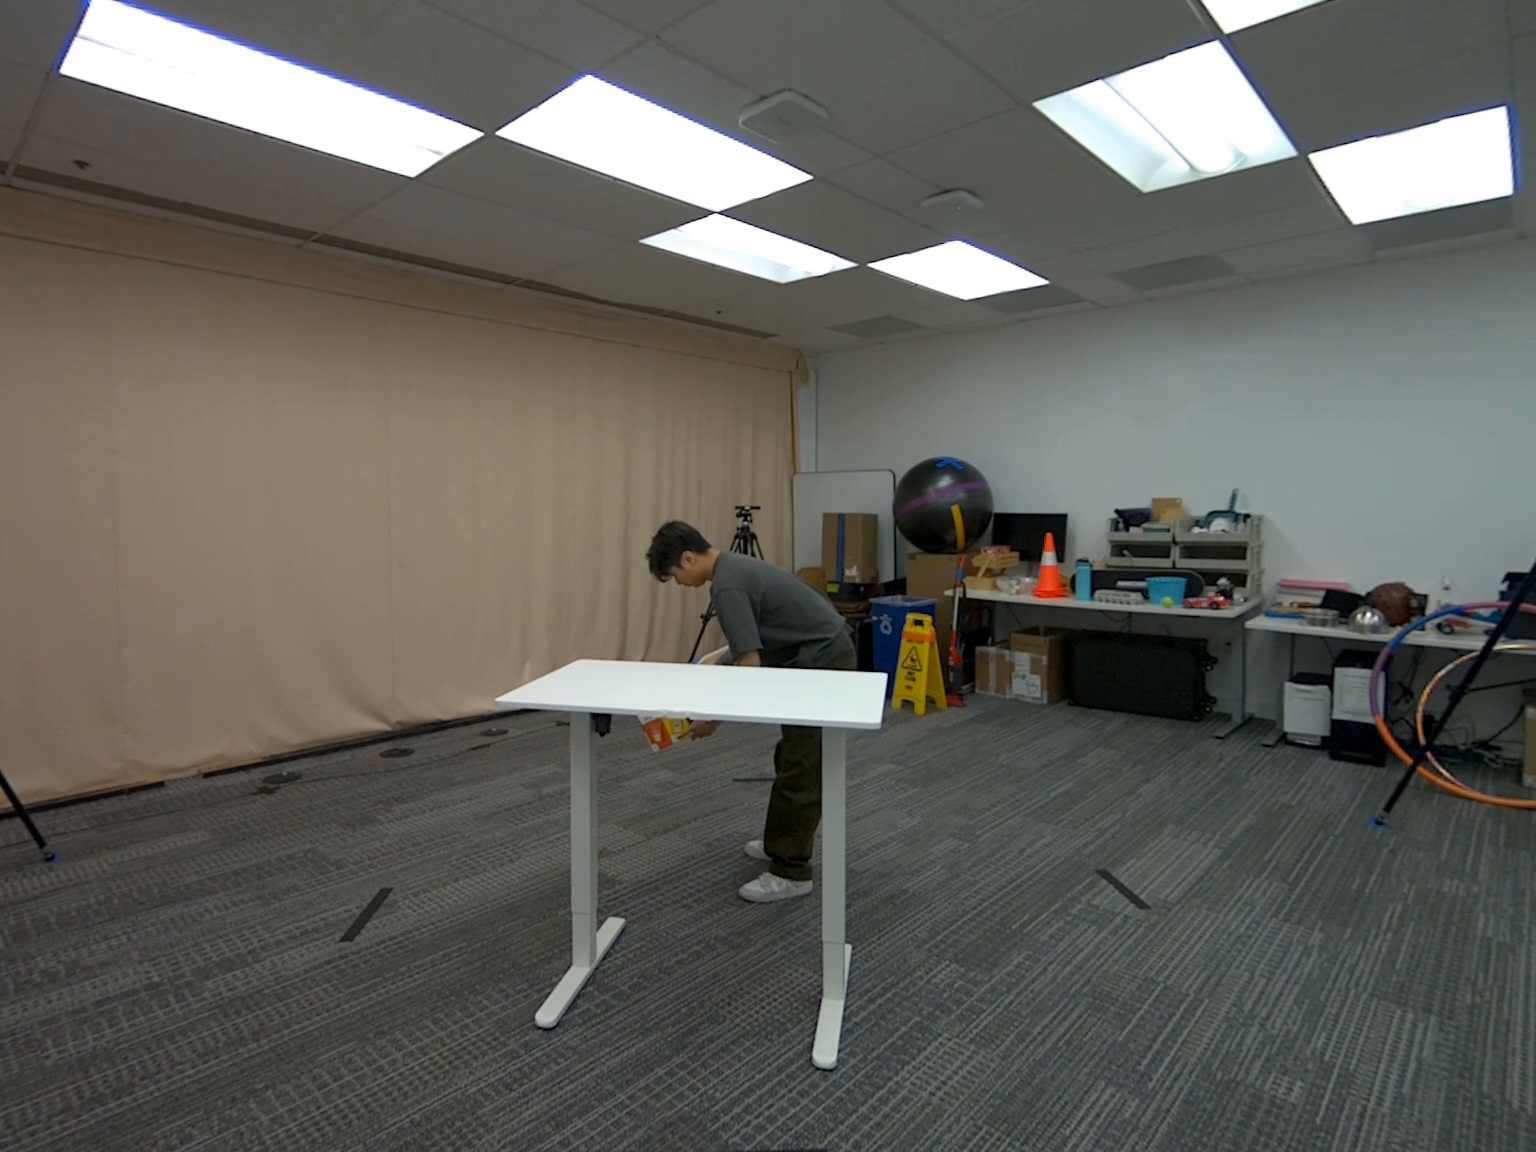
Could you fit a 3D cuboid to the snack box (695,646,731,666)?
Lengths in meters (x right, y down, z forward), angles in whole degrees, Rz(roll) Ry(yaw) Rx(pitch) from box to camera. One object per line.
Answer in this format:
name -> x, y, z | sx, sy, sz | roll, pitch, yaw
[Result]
snack box -> -0.278, 0.452, 3.219 | 0.343, 0.205, 0.401 | -25, 2, 13
